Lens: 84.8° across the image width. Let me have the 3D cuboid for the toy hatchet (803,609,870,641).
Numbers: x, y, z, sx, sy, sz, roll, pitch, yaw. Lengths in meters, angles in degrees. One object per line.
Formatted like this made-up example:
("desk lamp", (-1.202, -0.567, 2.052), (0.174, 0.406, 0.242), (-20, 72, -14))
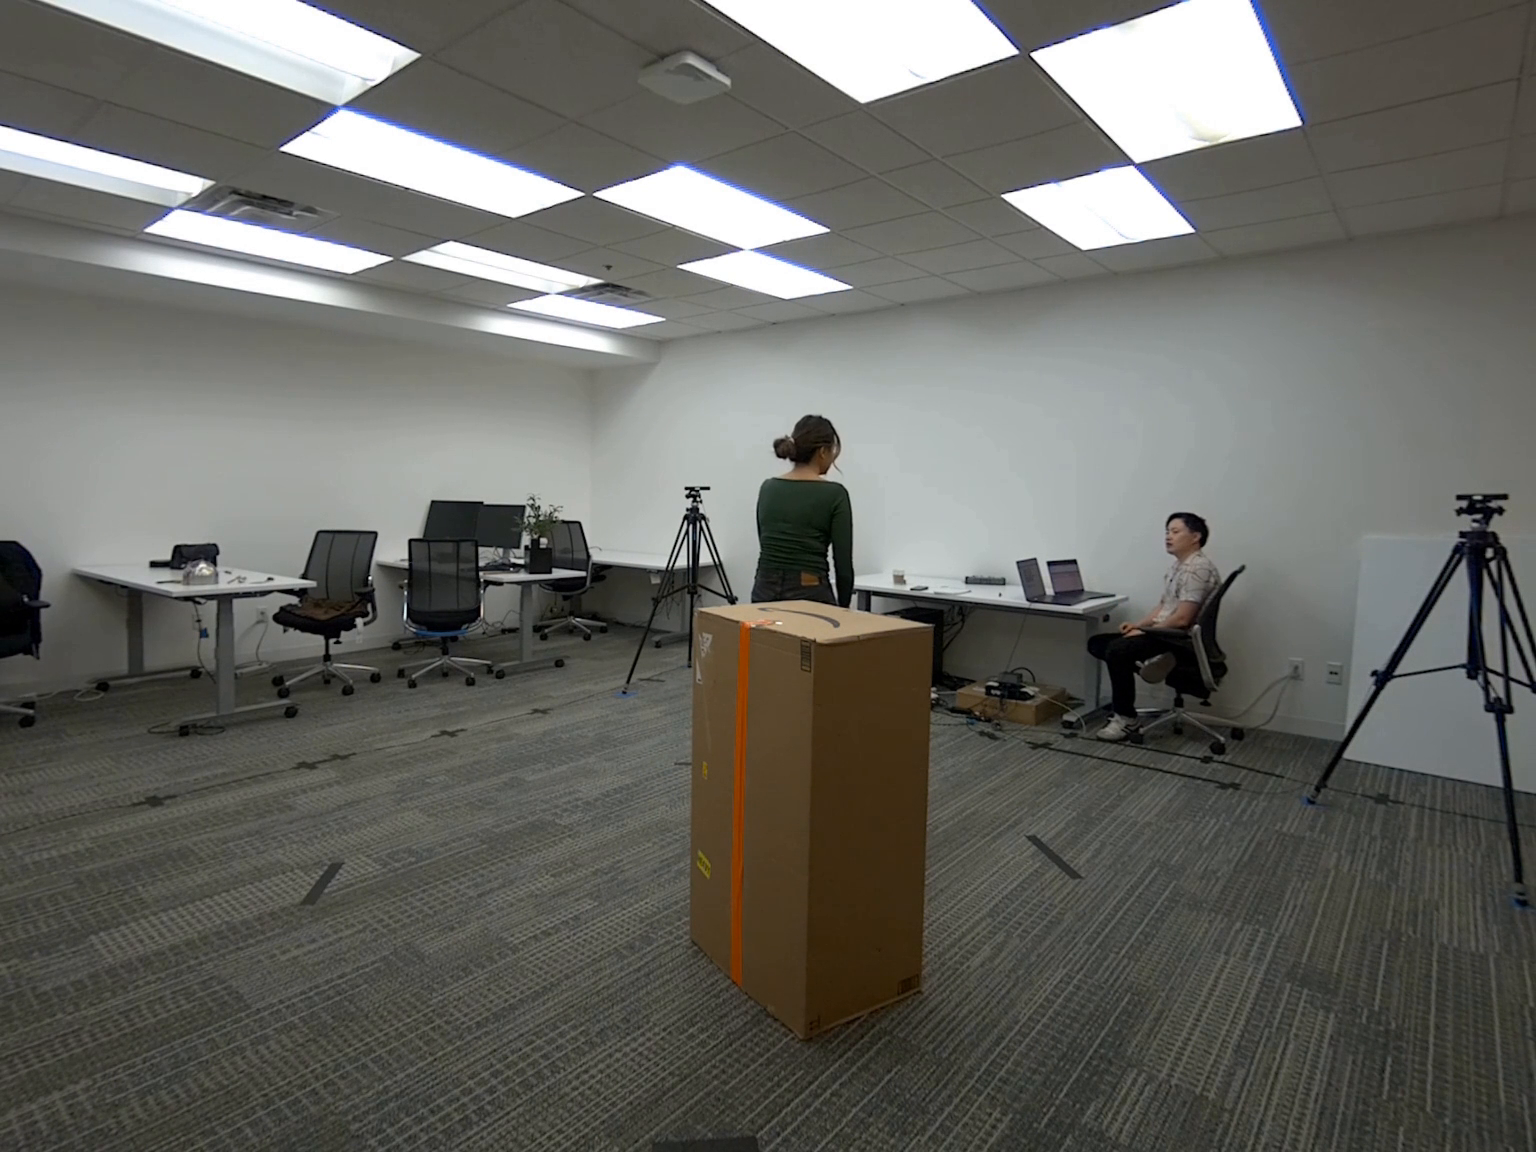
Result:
("toy hatchet", (0.300, 0.215, 3.719), (0.269, 0.128, 0.030), (4, 32, -4))
